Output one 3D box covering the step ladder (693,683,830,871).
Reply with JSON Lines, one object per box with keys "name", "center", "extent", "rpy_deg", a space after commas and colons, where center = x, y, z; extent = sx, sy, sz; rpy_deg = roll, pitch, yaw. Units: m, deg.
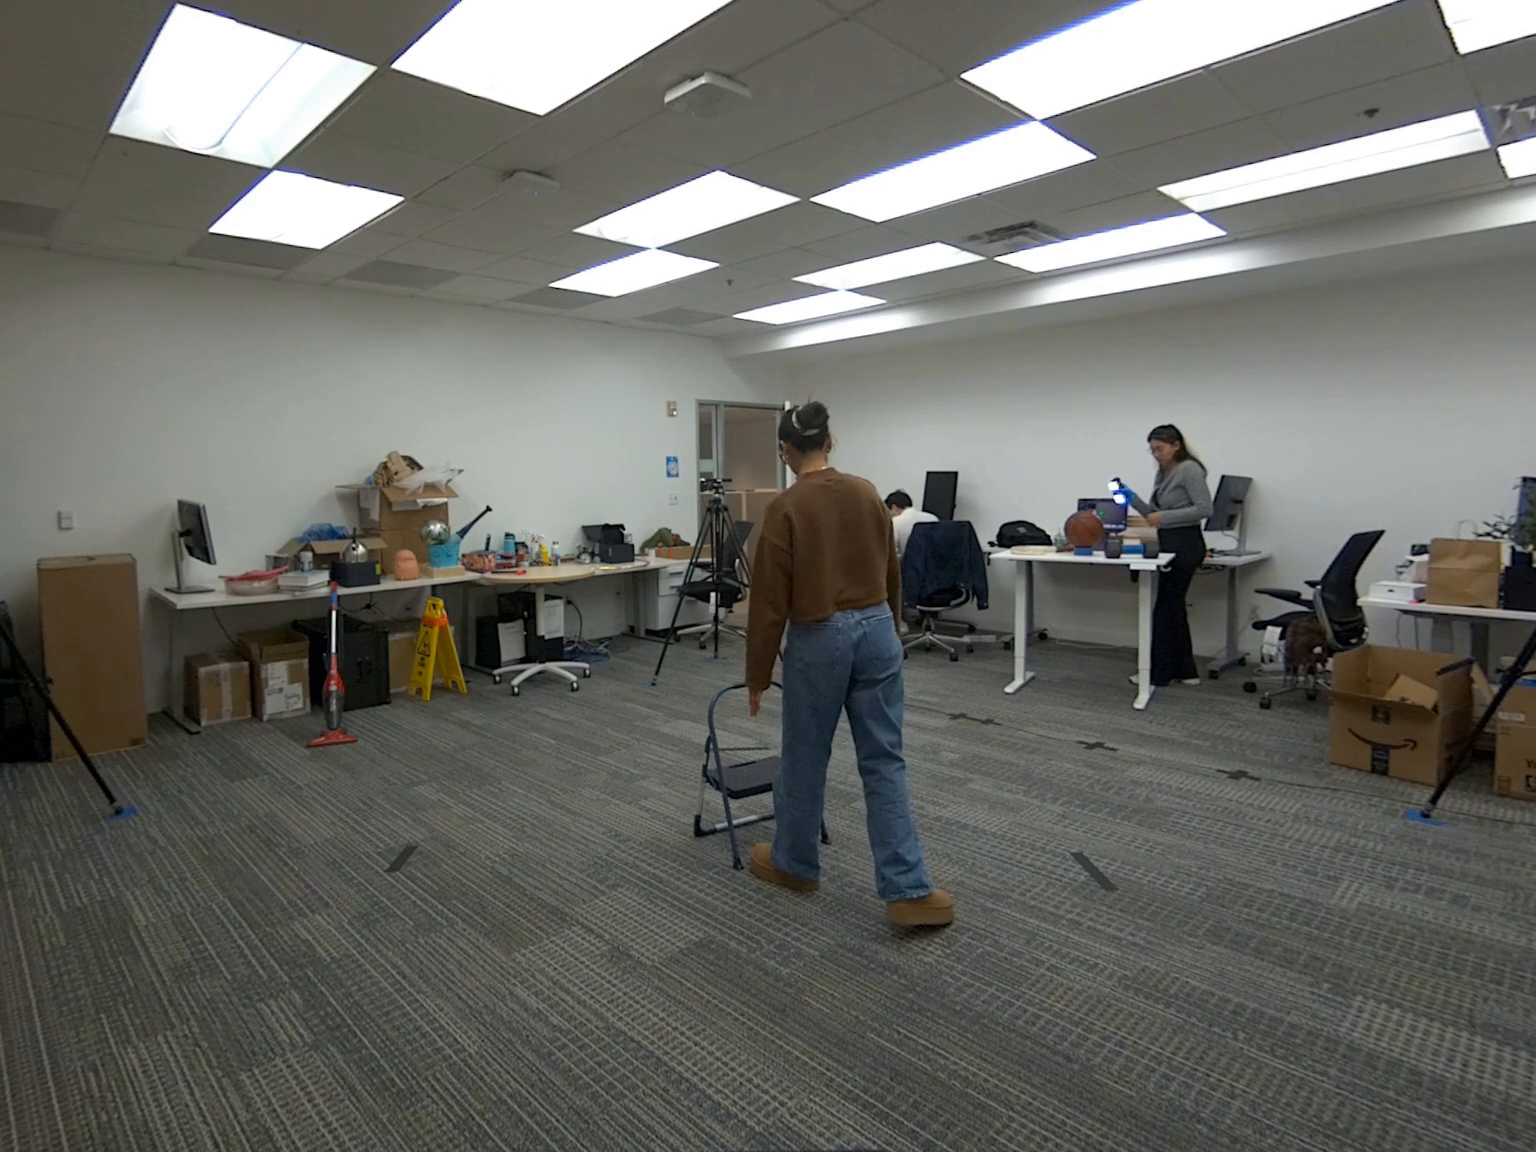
{"name": "step ladder", "center": [-0.030, 0.719, 3.288], "extent": [0.420, 0.604, 0.359], "rpy_deg": [-4, 5, -33]}
